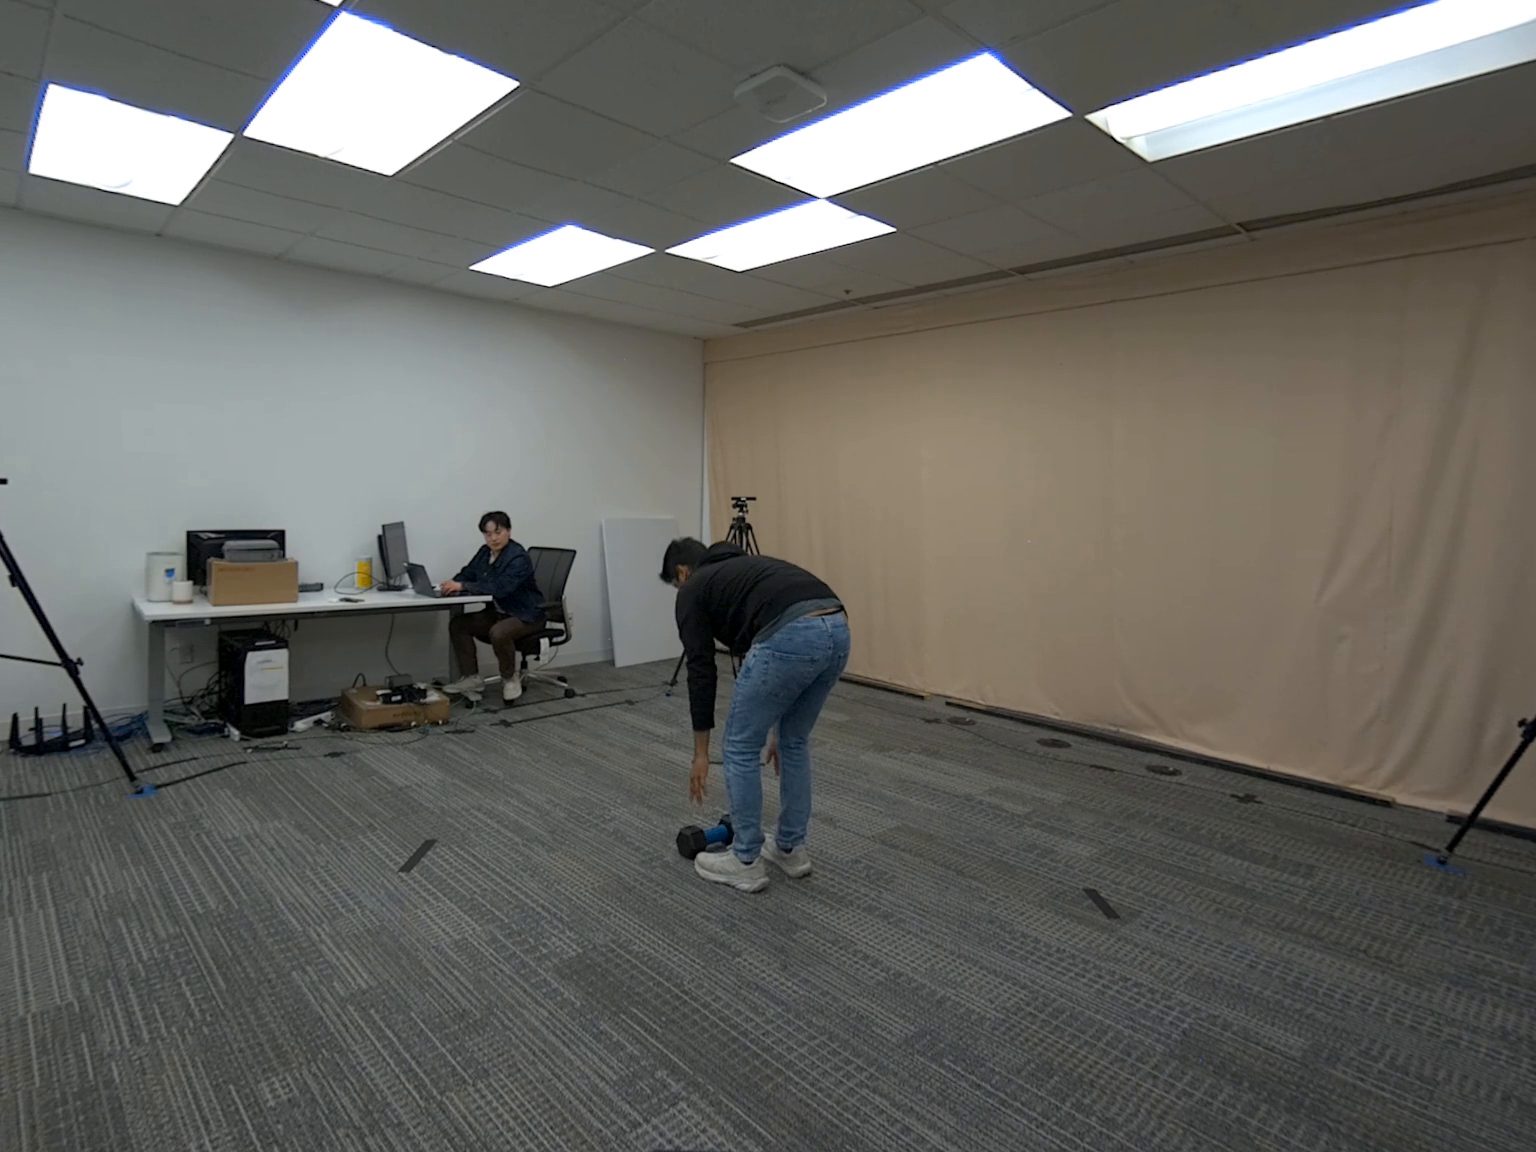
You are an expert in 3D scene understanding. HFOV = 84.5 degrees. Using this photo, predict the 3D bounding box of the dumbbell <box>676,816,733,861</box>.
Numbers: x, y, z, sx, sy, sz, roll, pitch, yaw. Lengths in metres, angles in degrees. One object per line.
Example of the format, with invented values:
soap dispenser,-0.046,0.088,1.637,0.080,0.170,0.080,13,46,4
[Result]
dumbbell,-0.227,1.029,3.338,0.287,0.108,0.126,-4,7,-43
